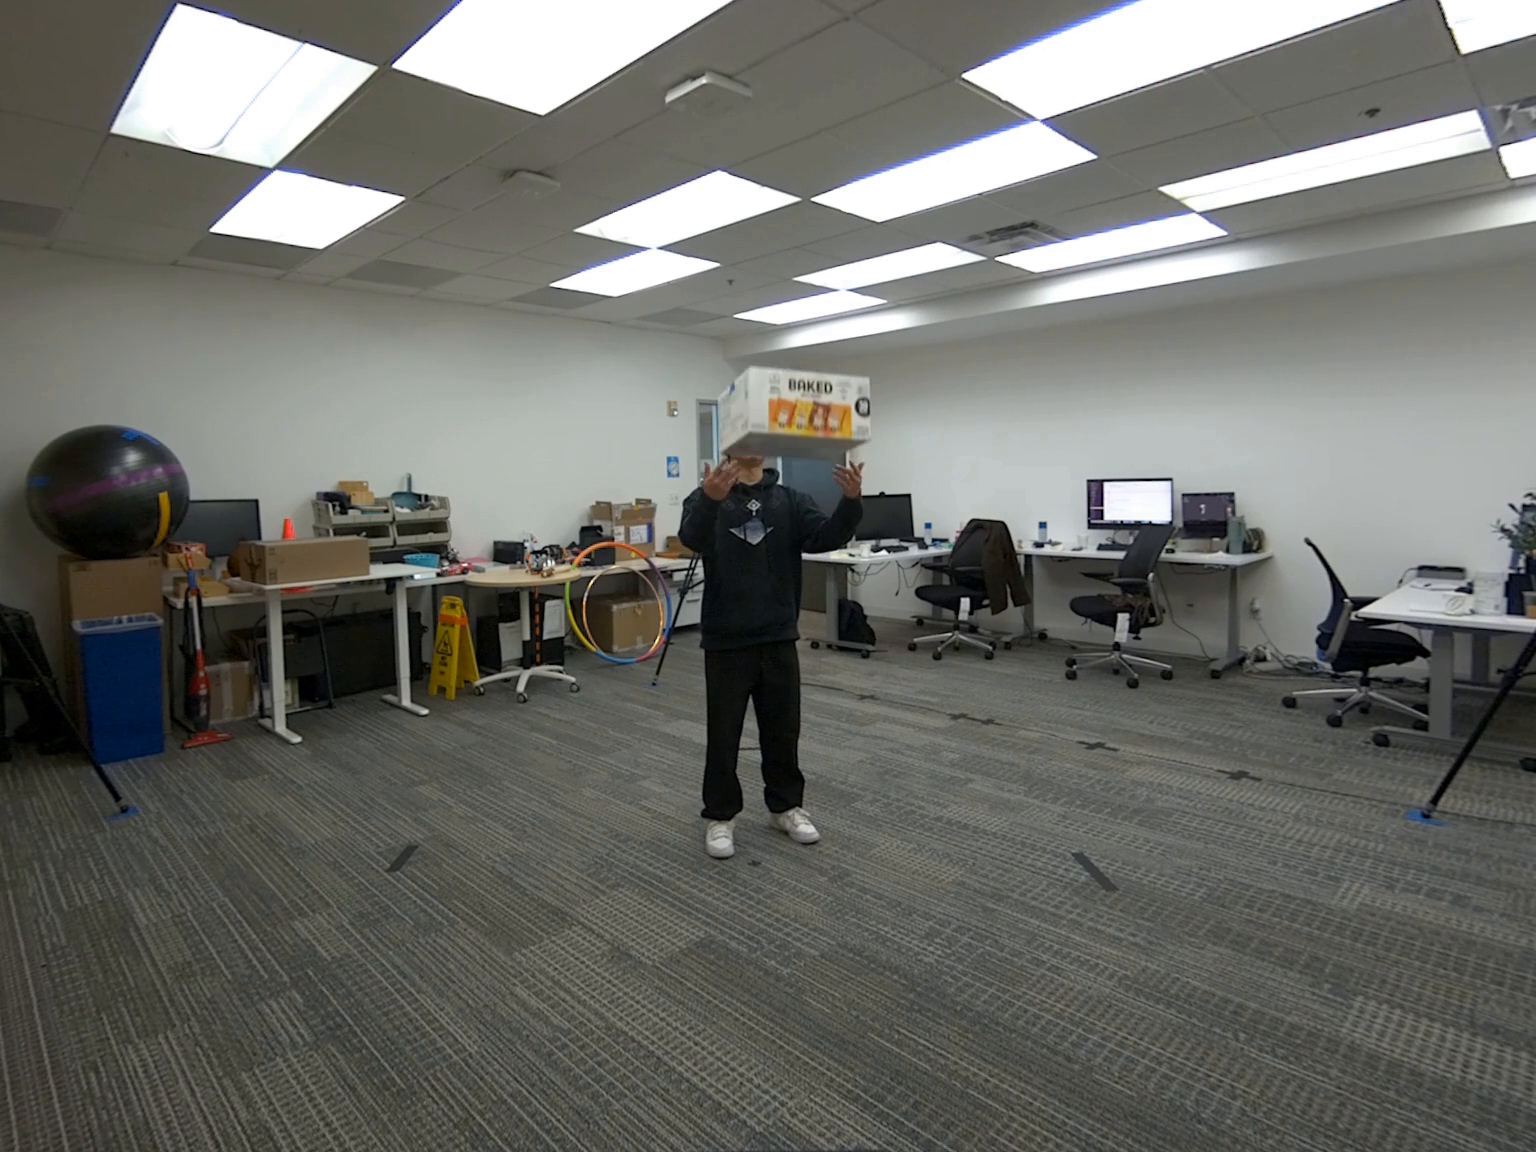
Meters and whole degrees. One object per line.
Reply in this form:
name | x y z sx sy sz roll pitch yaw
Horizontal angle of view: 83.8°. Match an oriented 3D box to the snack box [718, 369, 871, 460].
snack box | 0.076 -0.483 2.797 0.398 0.207 0.344 1 -5 -18
